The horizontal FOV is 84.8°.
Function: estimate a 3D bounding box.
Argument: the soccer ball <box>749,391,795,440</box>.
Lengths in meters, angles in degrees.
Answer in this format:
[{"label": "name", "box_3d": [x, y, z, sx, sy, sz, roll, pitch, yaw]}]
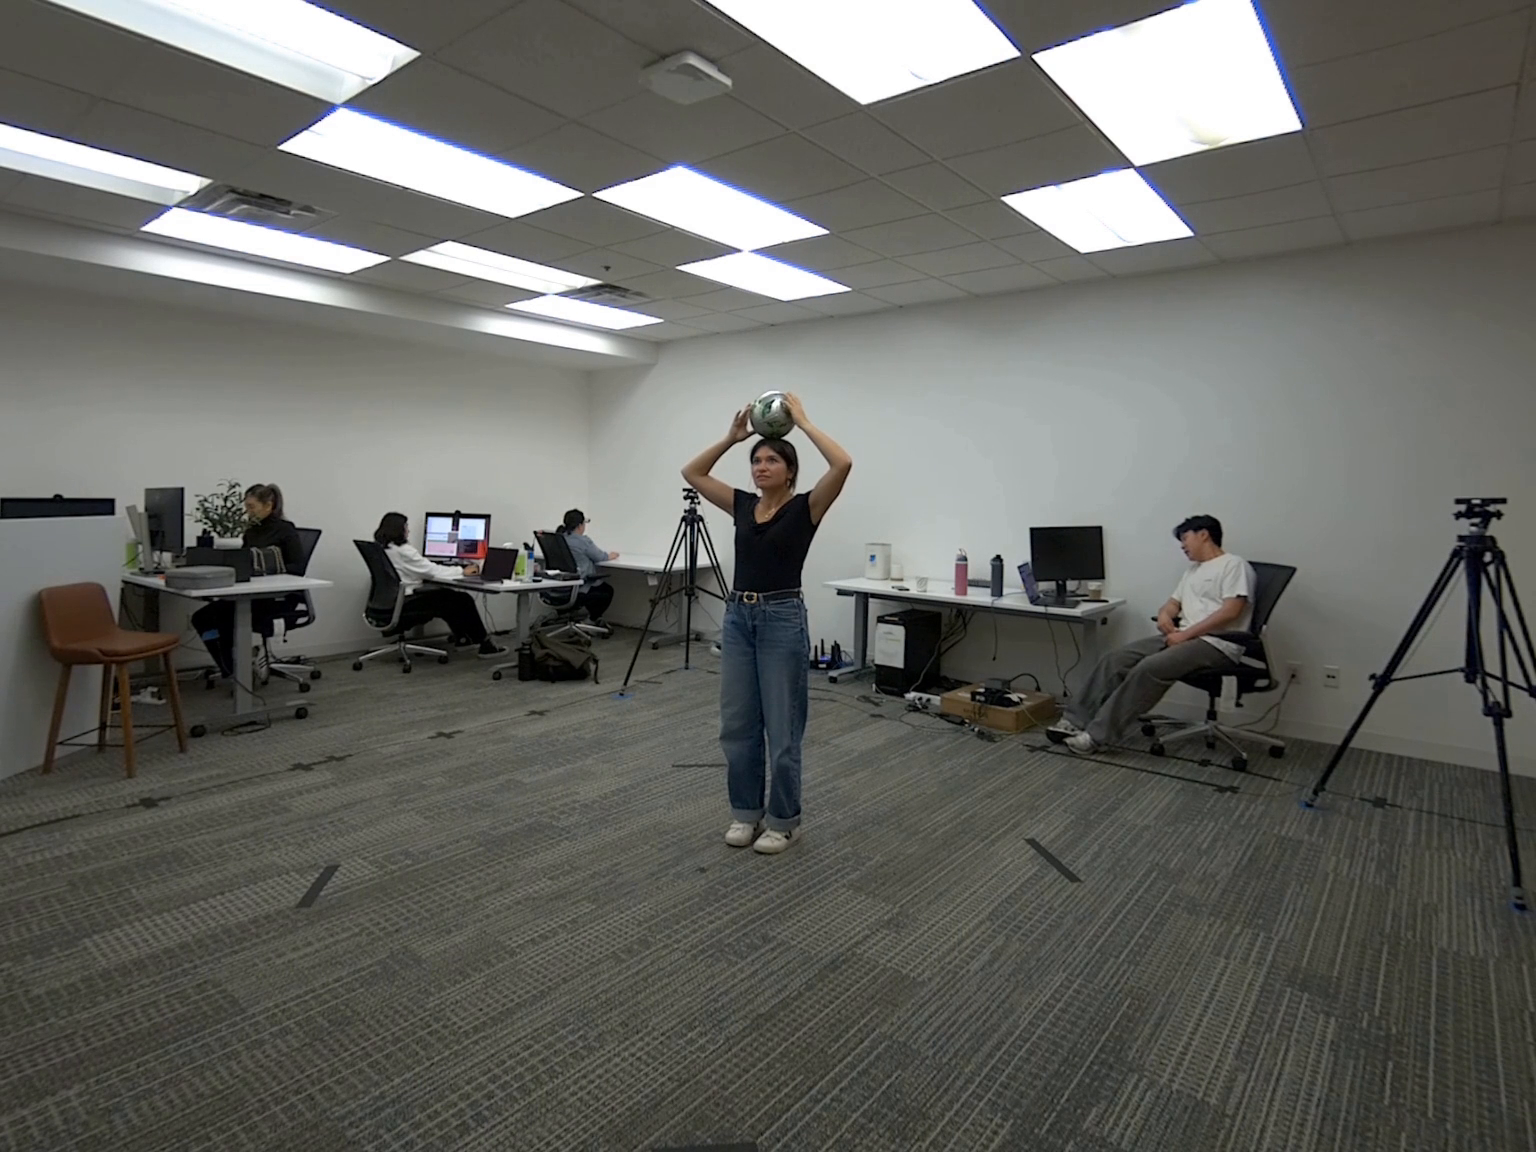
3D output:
[{"label": "soccer ball", "box_3d": [0.015, -0.633, 3.320, 0.187, 0.187, 0.188, 1, 4, -2]}]
